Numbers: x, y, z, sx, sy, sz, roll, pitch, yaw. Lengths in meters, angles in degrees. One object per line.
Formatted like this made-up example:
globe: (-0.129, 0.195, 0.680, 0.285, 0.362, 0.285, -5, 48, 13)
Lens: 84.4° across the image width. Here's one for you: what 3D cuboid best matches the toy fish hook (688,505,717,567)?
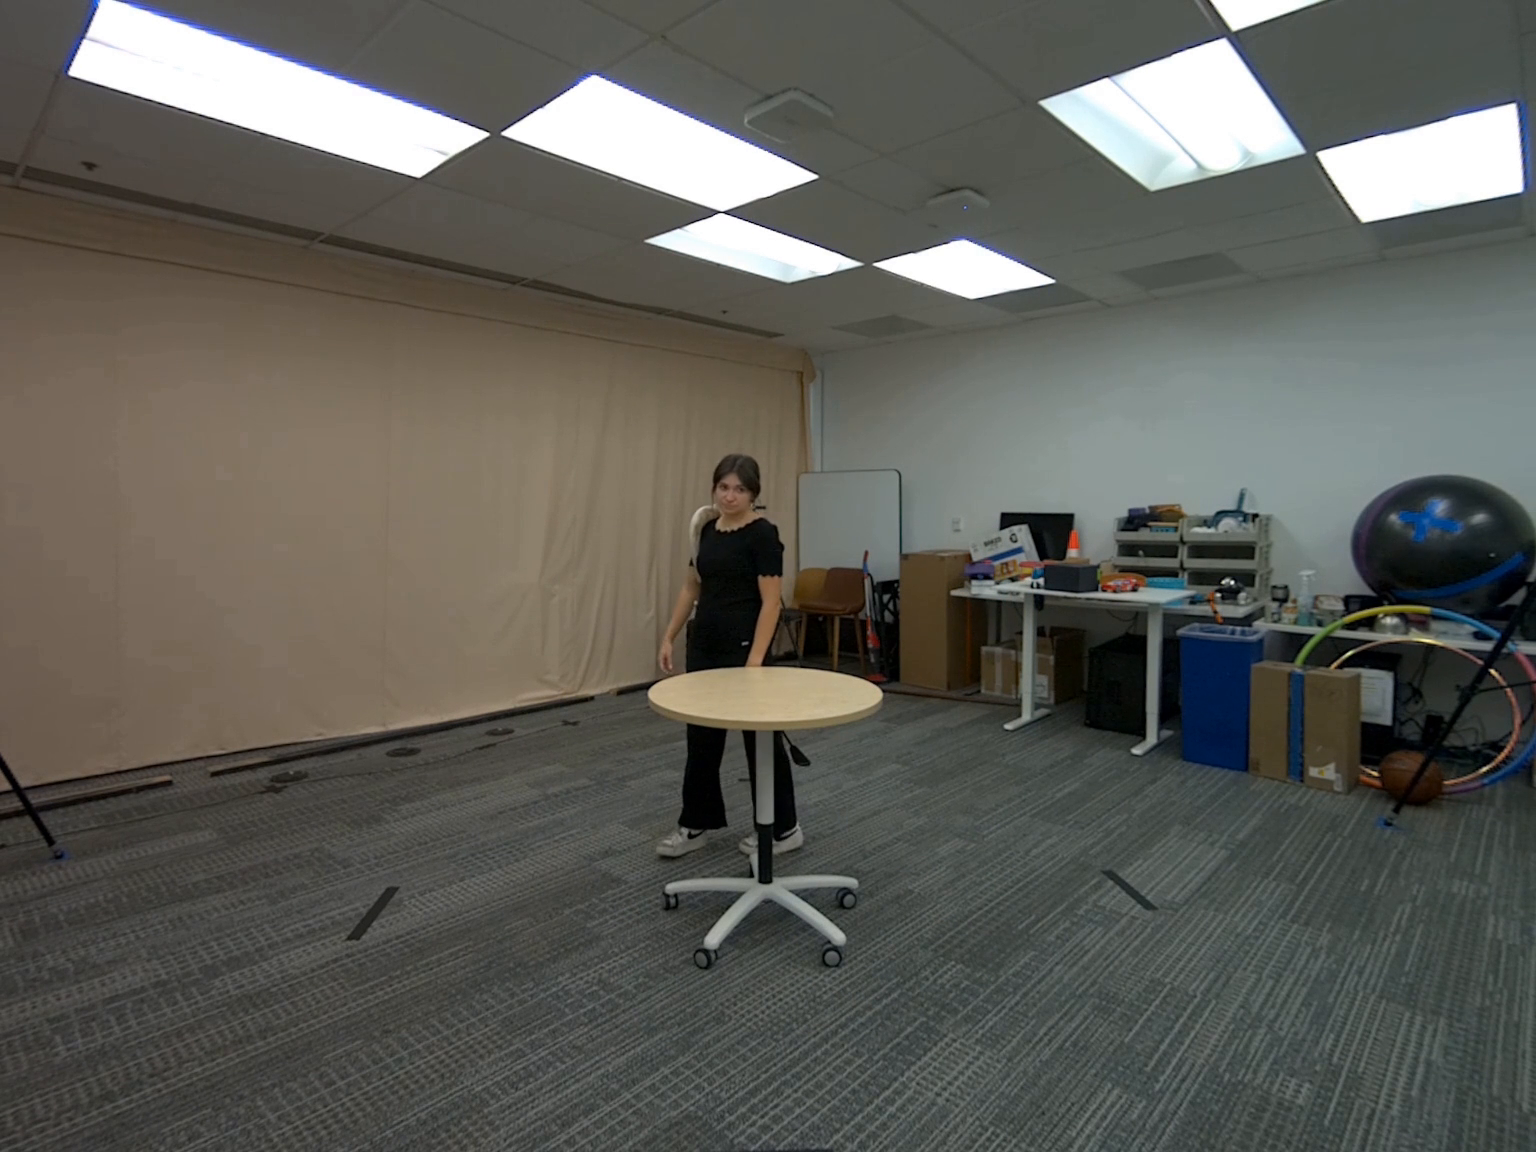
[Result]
toy fish hook: (-0.240, -0.039, 3.487, 0.050, 0.503, 0.218, 14, 17, 43)
